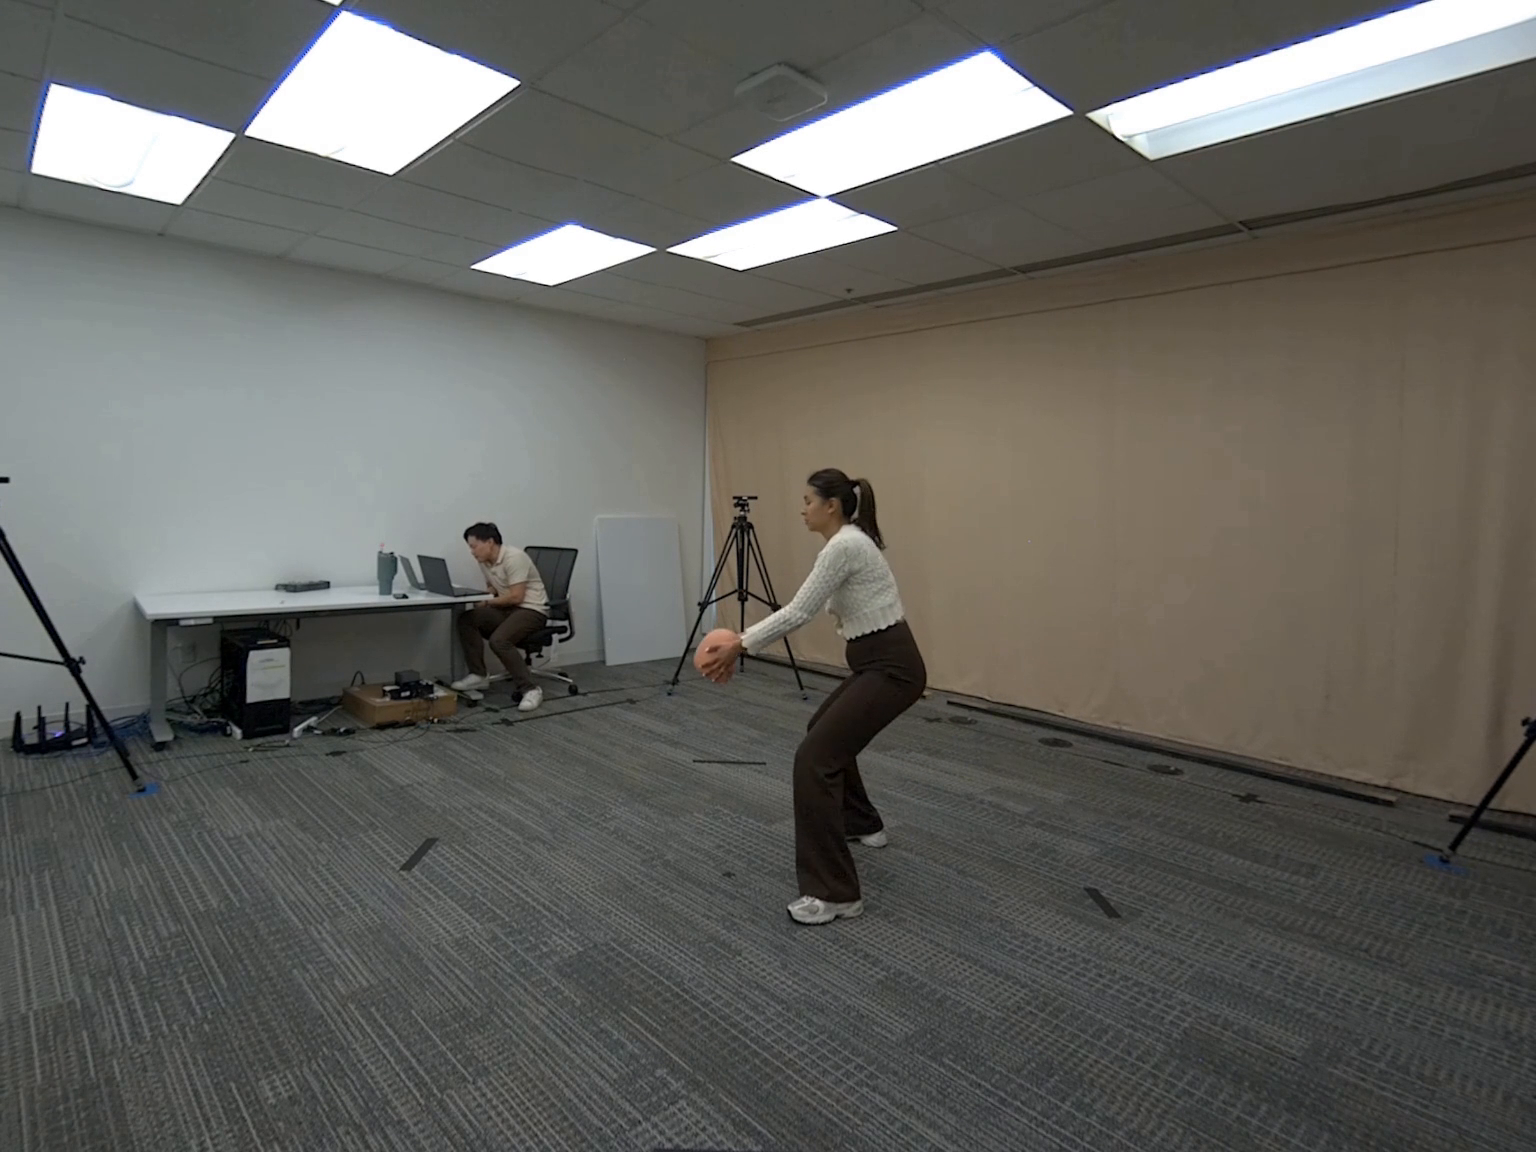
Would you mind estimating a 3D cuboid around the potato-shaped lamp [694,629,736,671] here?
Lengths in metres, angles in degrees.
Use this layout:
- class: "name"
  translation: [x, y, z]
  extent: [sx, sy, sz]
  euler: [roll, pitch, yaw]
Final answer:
- class: "potato-shaped lamp"
  translation: [-0.178, 0.307, 3.231]
  extent: [0.171, 0.198, 0.165]
  euler: [33, 8, -3]
